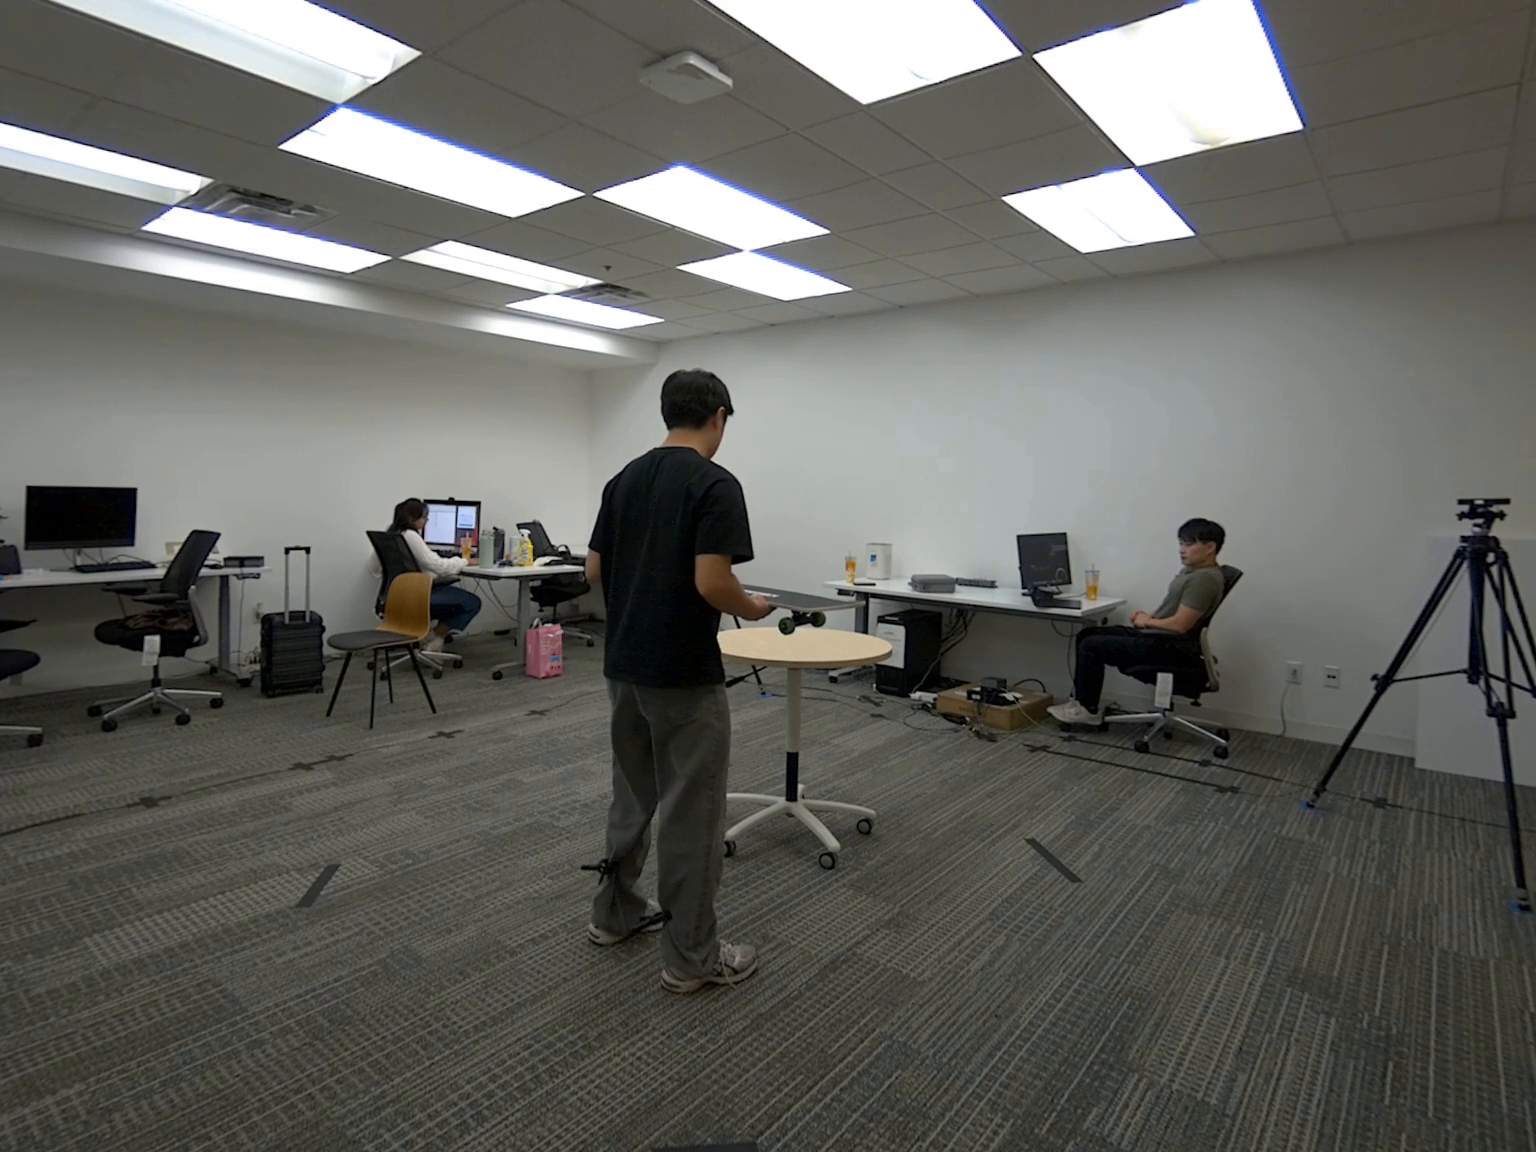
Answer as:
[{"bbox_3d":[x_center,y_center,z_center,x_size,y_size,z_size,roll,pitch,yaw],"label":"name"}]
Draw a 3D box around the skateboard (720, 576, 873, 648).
[{"bbox_3d":[-0.066,0.082,2.616,0.813,0.109,0.188,9,12,41],"label":"skateboard"}]
